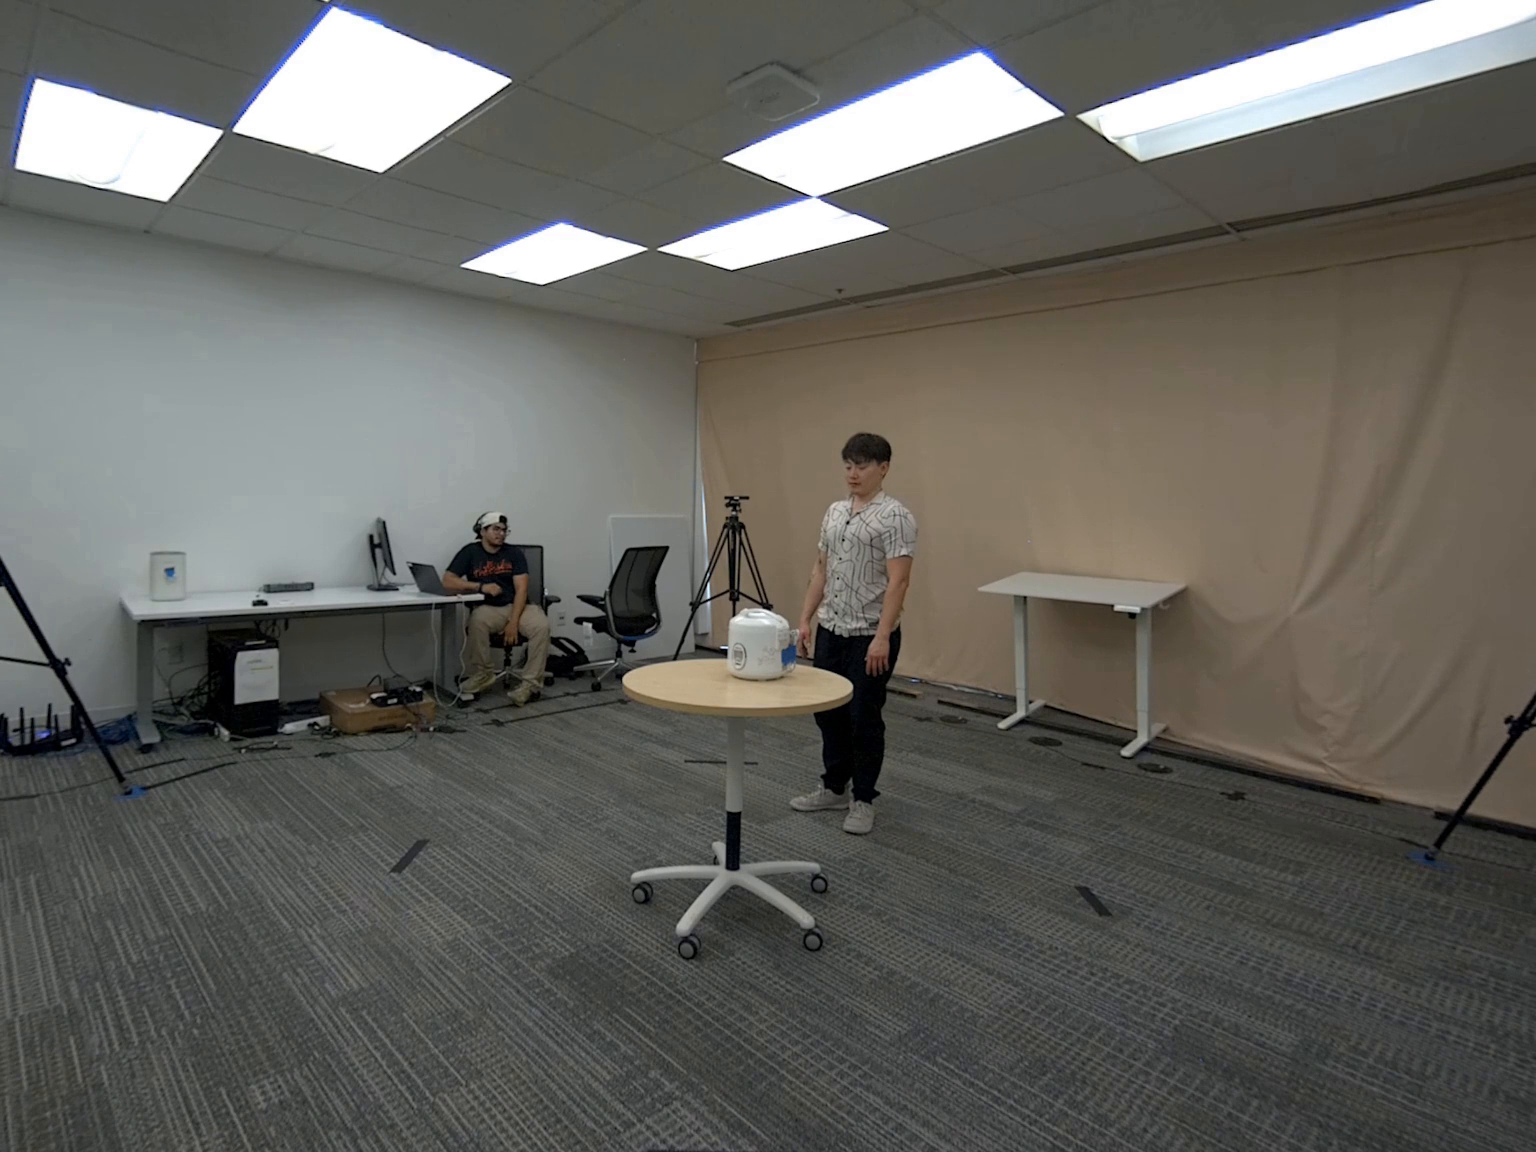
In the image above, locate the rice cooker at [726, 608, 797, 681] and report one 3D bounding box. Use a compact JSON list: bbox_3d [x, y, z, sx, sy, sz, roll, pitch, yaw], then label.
[{"bbox_3d":[-0.036,0.230,2.883,0.226,0.232,0.212,5,4,38],"label":"rice cooker"}]
